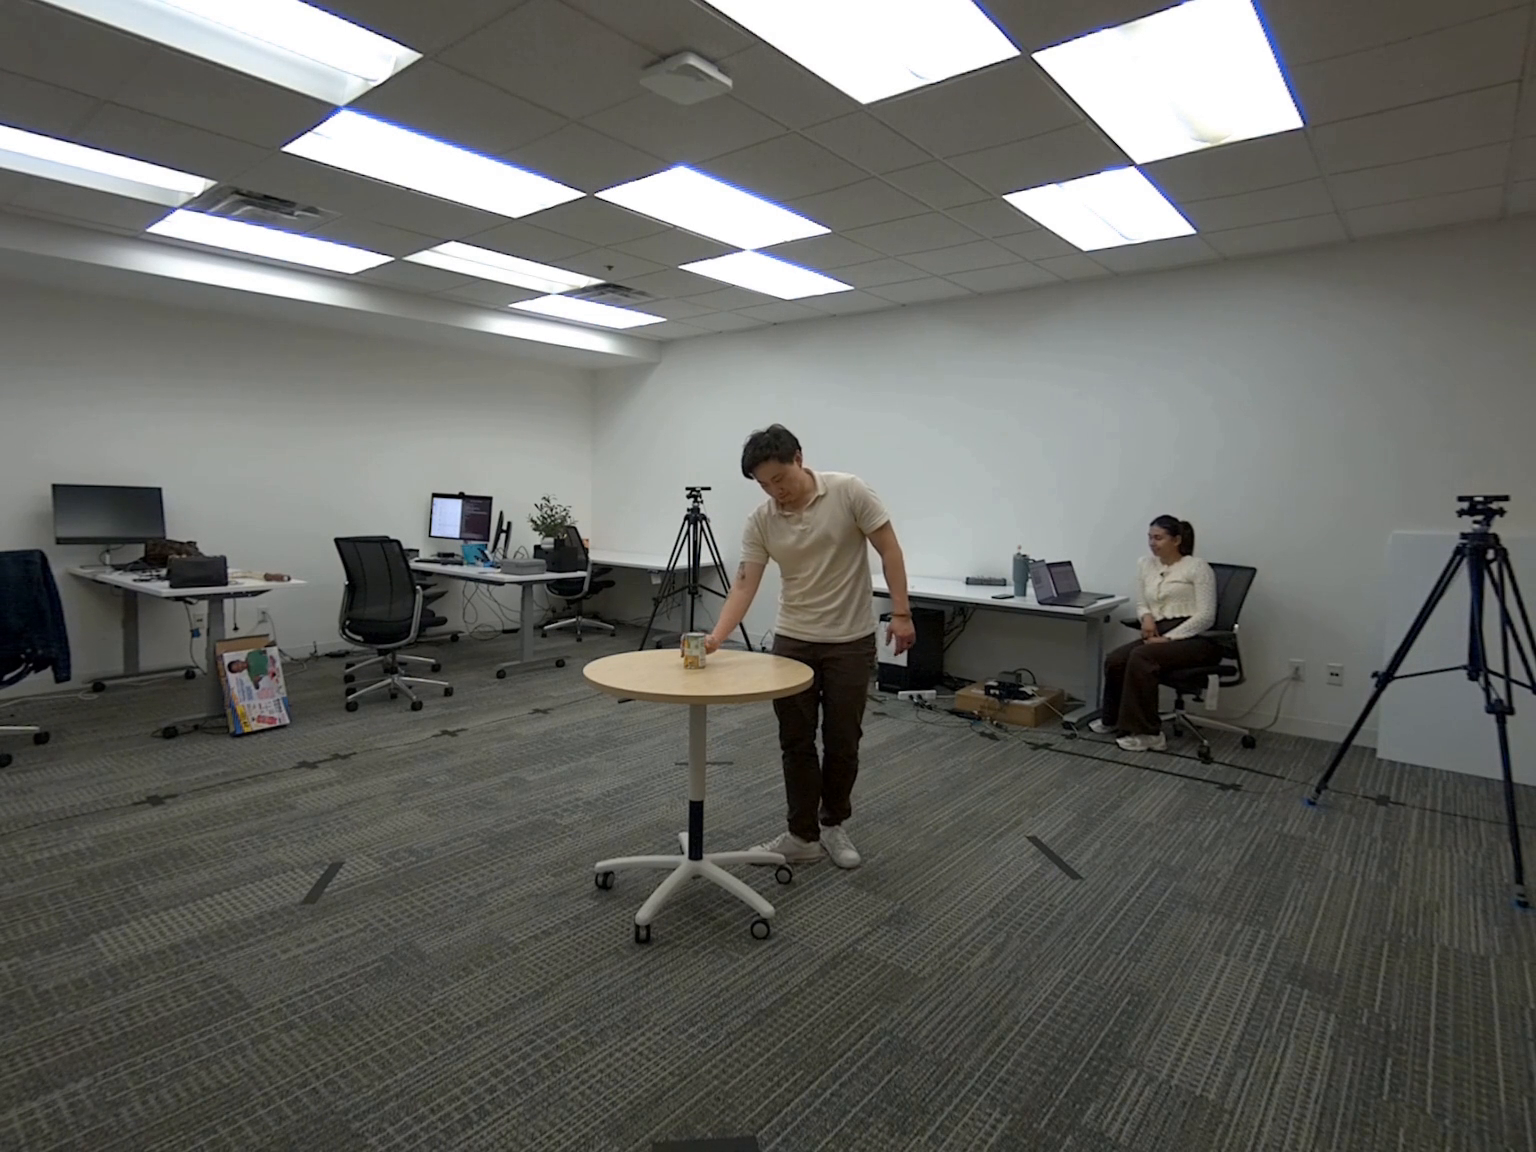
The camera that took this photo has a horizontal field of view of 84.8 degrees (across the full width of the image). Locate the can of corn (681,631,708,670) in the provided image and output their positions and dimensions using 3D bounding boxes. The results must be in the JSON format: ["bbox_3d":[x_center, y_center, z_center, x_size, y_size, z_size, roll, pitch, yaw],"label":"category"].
[{"bbox_3d":[-0.248,0.246,2.873,0.074,0.111,0.074,-1,3,-2],"label":"can of corn"}]
